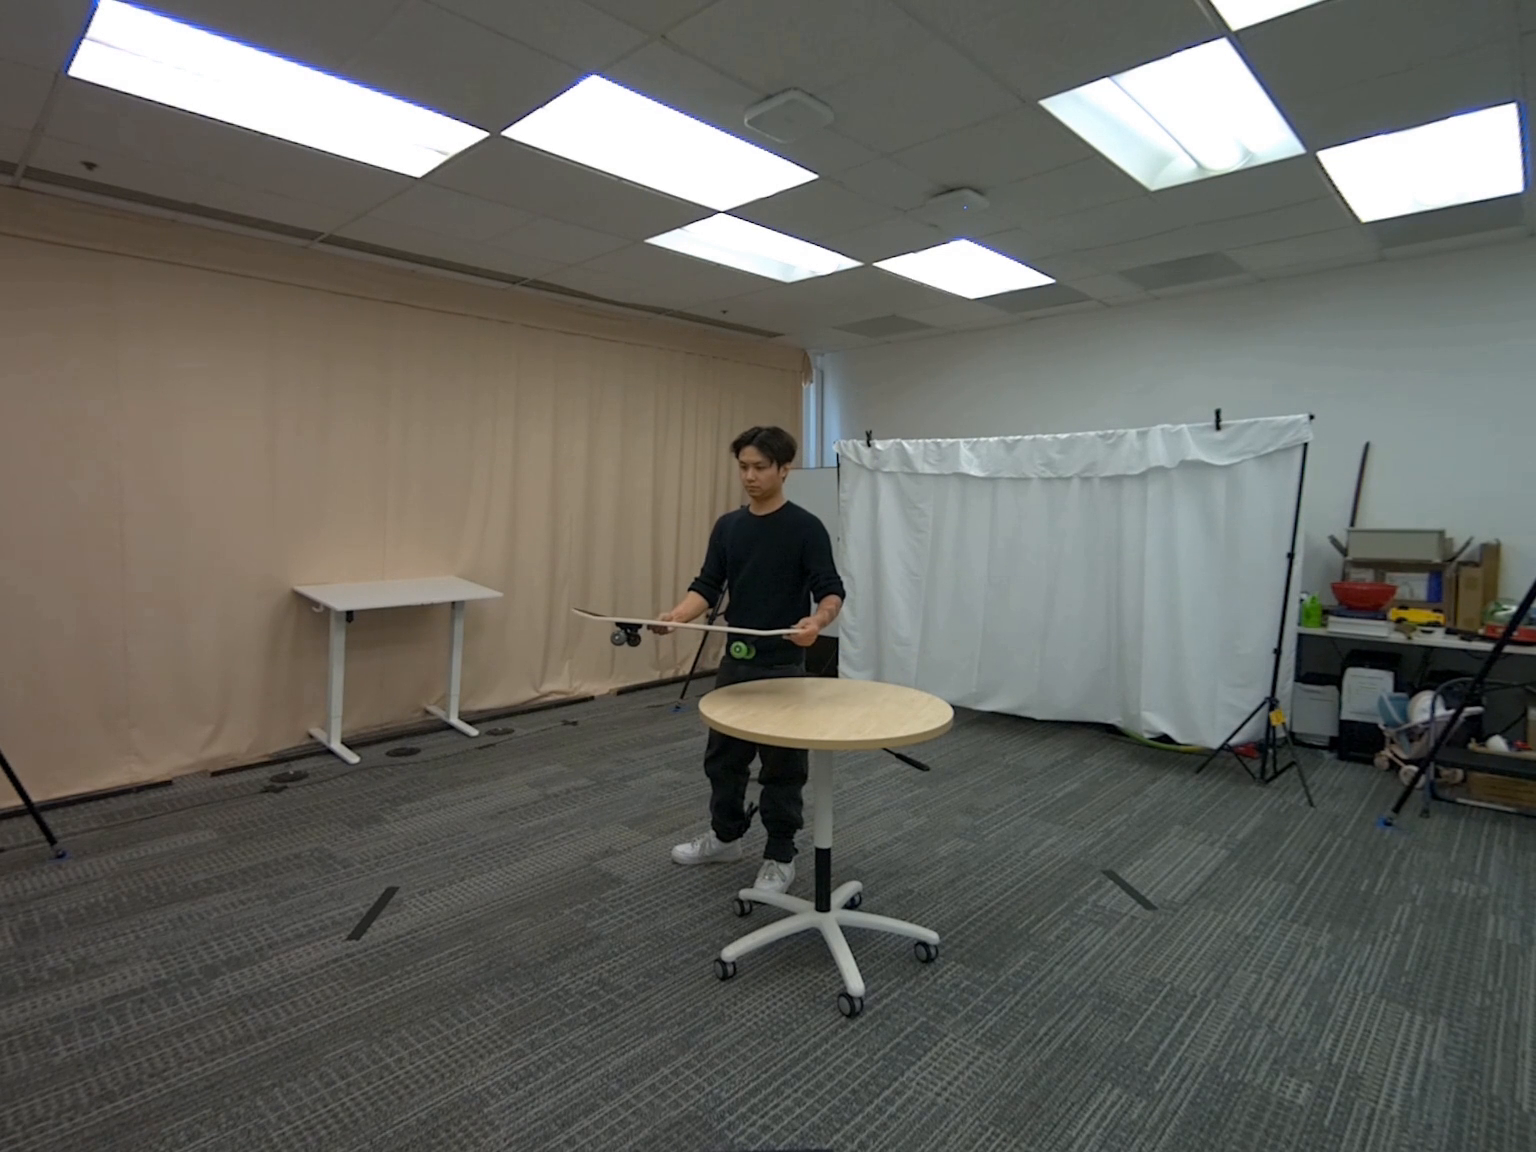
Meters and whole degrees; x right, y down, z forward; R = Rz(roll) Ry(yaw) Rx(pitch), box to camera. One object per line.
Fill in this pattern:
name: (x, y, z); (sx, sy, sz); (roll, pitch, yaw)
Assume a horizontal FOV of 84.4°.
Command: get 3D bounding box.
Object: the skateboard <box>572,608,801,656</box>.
skateboard: (-0.253, 0.197, 2.754); (0.794, 0.110, 0.191); (4, -4, 10)
